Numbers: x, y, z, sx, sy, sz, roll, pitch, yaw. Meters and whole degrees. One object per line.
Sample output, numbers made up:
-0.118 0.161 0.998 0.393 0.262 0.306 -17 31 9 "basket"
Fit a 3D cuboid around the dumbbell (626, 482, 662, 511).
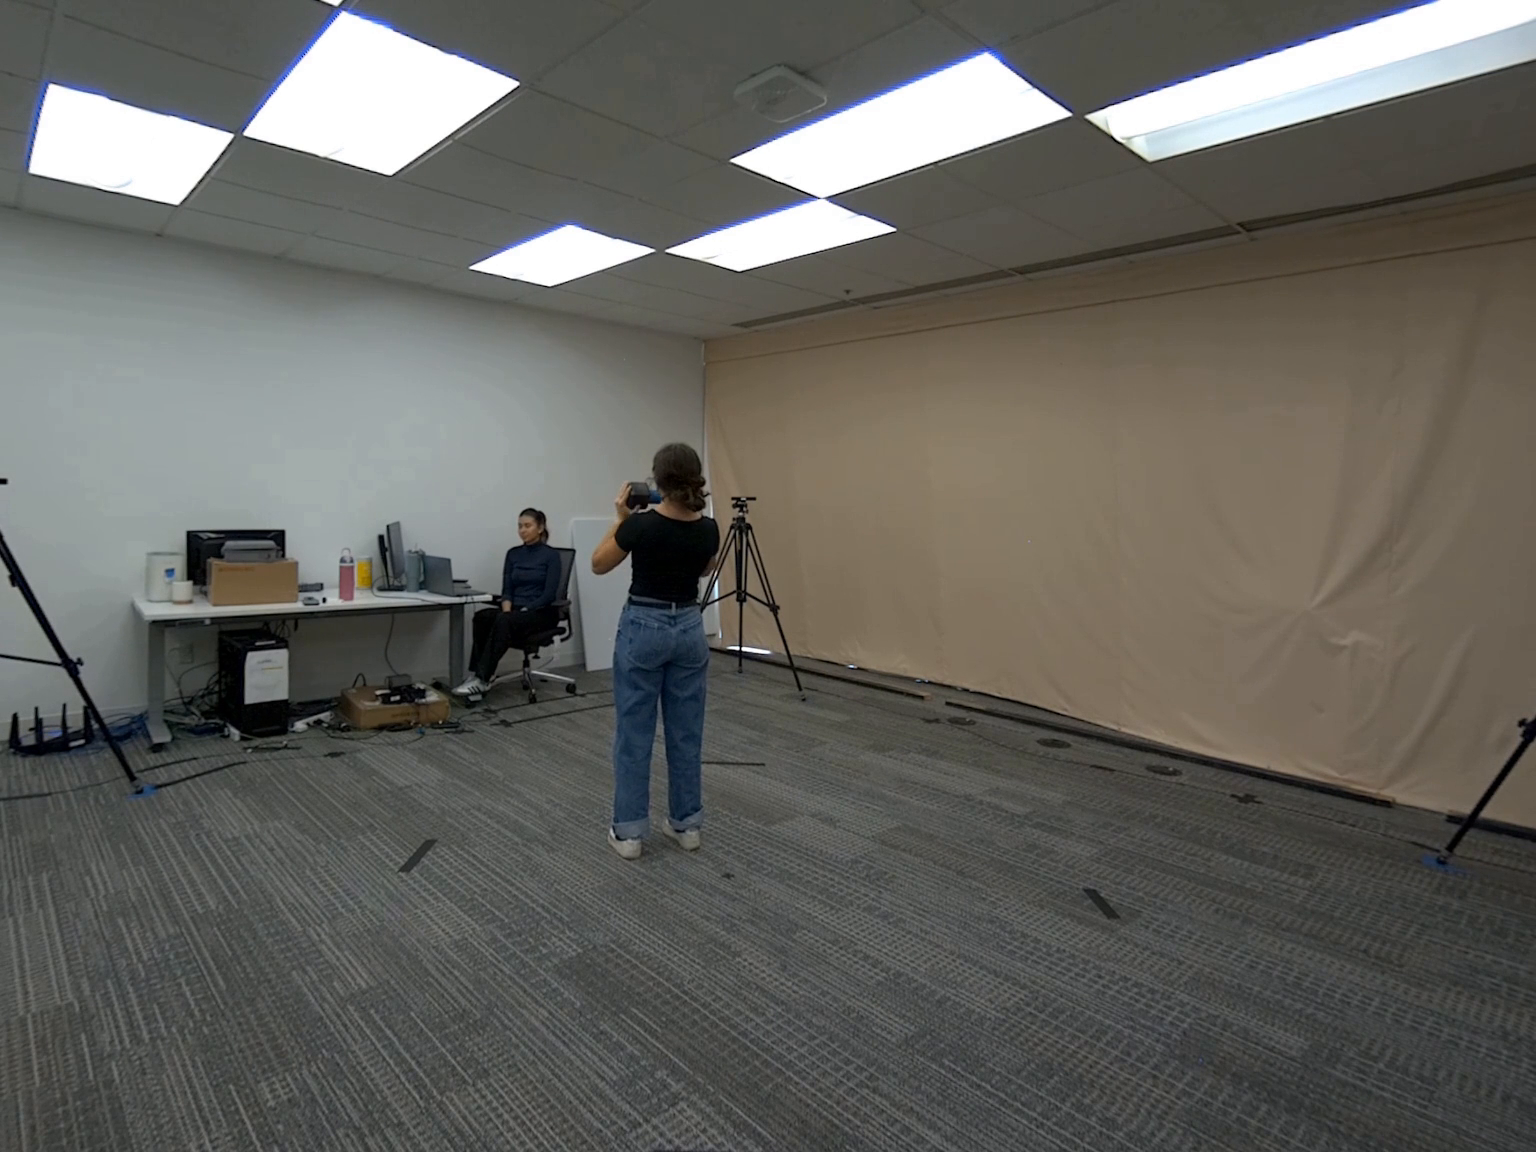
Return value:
-0.434 -0.328 3.374 0.288 0.126 0.108 0 -30 -25 "dumbbell"
